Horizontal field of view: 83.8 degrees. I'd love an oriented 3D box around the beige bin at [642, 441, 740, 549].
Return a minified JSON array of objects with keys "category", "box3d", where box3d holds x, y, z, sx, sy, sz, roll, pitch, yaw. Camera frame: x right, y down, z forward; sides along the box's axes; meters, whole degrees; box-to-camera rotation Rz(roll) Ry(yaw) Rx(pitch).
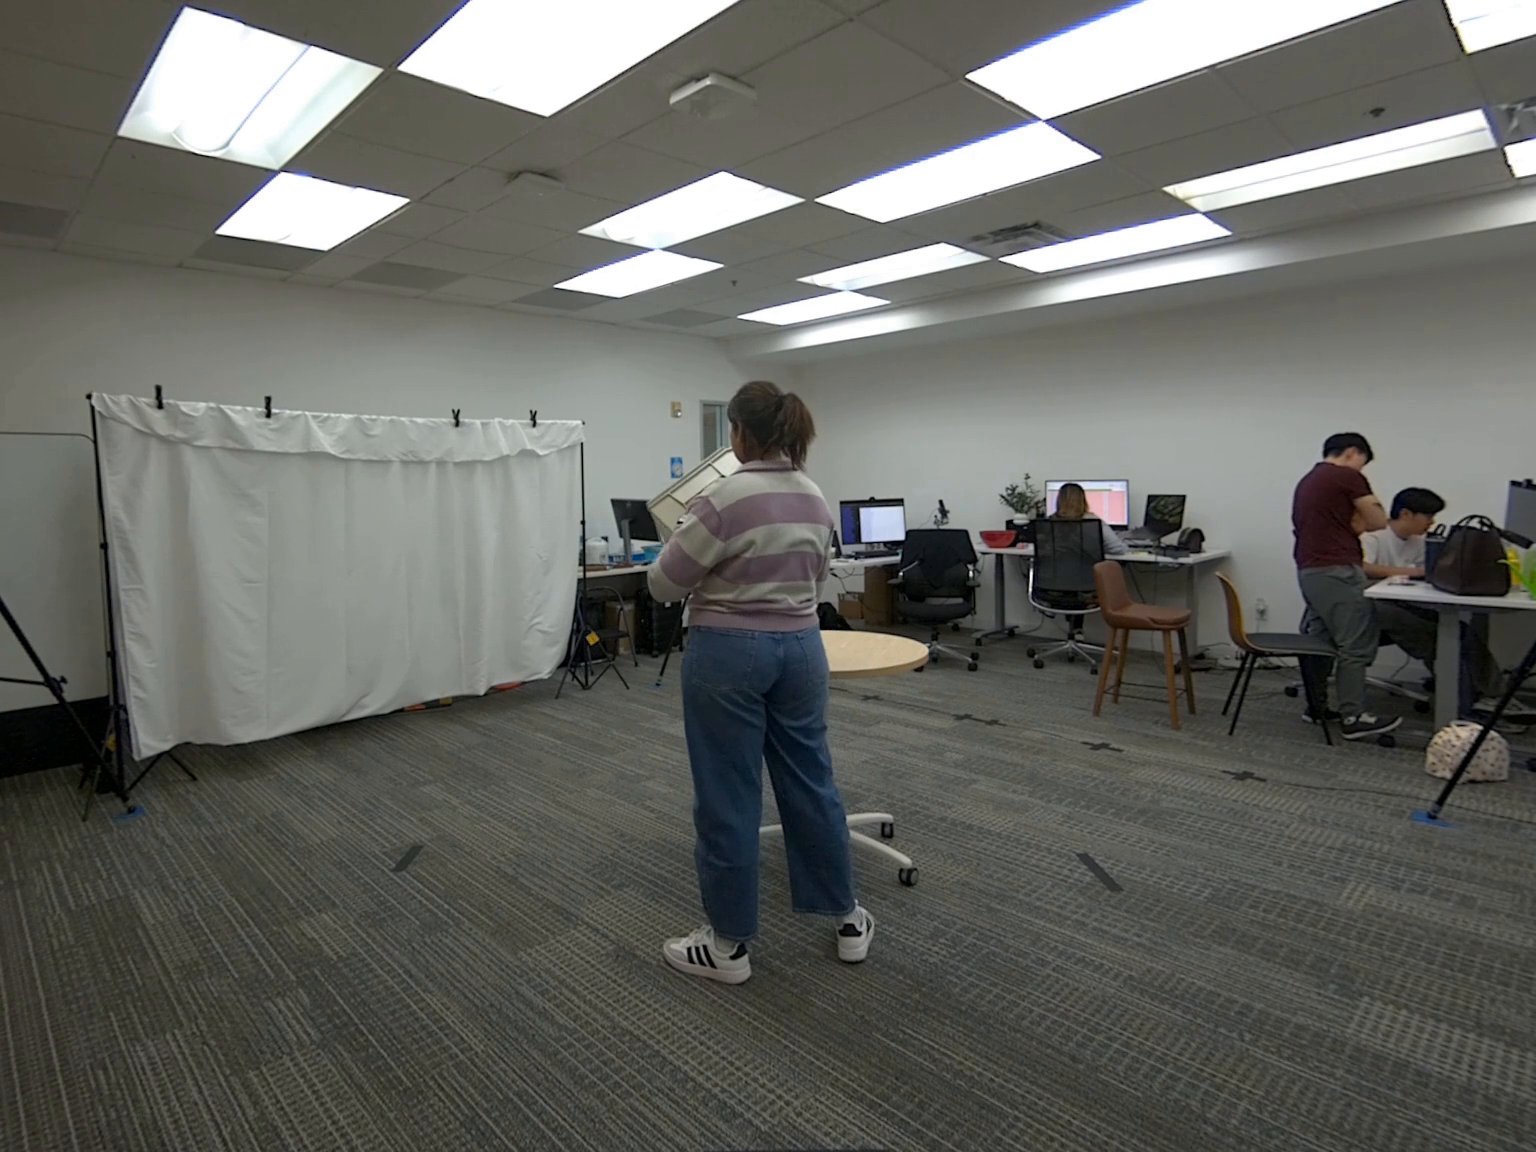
[{"category":"beige bin","box3d":[-0.143,-0.157,2.776,0.376,0.408,0.196,-39,54,-14]}]
